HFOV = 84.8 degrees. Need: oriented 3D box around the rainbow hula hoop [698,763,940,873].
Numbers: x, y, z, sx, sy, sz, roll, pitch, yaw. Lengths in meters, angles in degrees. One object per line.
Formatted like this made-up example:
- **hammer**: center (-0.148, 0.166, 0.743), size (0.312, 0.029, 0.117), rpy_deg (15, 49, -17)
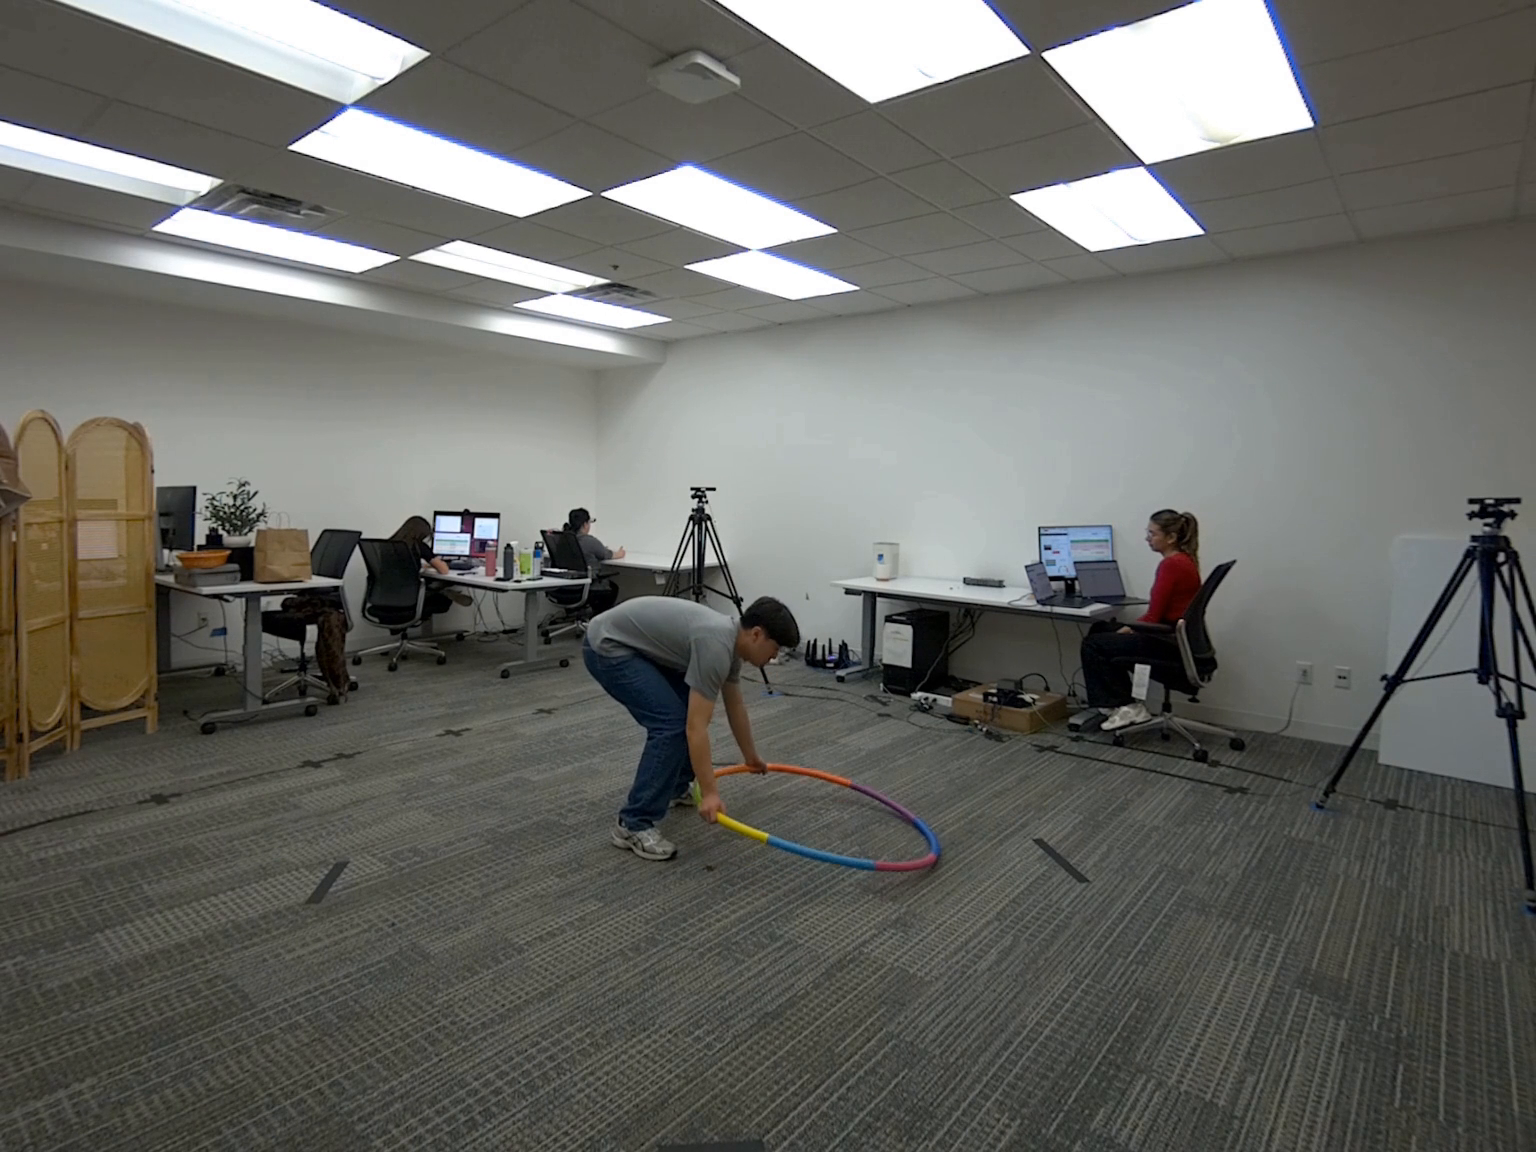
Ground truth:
- **rainbow hula hoop**: center (0.171, 0.915, 3.389), size (0.977, 0.035, 0.983), rpy_deg (9, 4, -2)
